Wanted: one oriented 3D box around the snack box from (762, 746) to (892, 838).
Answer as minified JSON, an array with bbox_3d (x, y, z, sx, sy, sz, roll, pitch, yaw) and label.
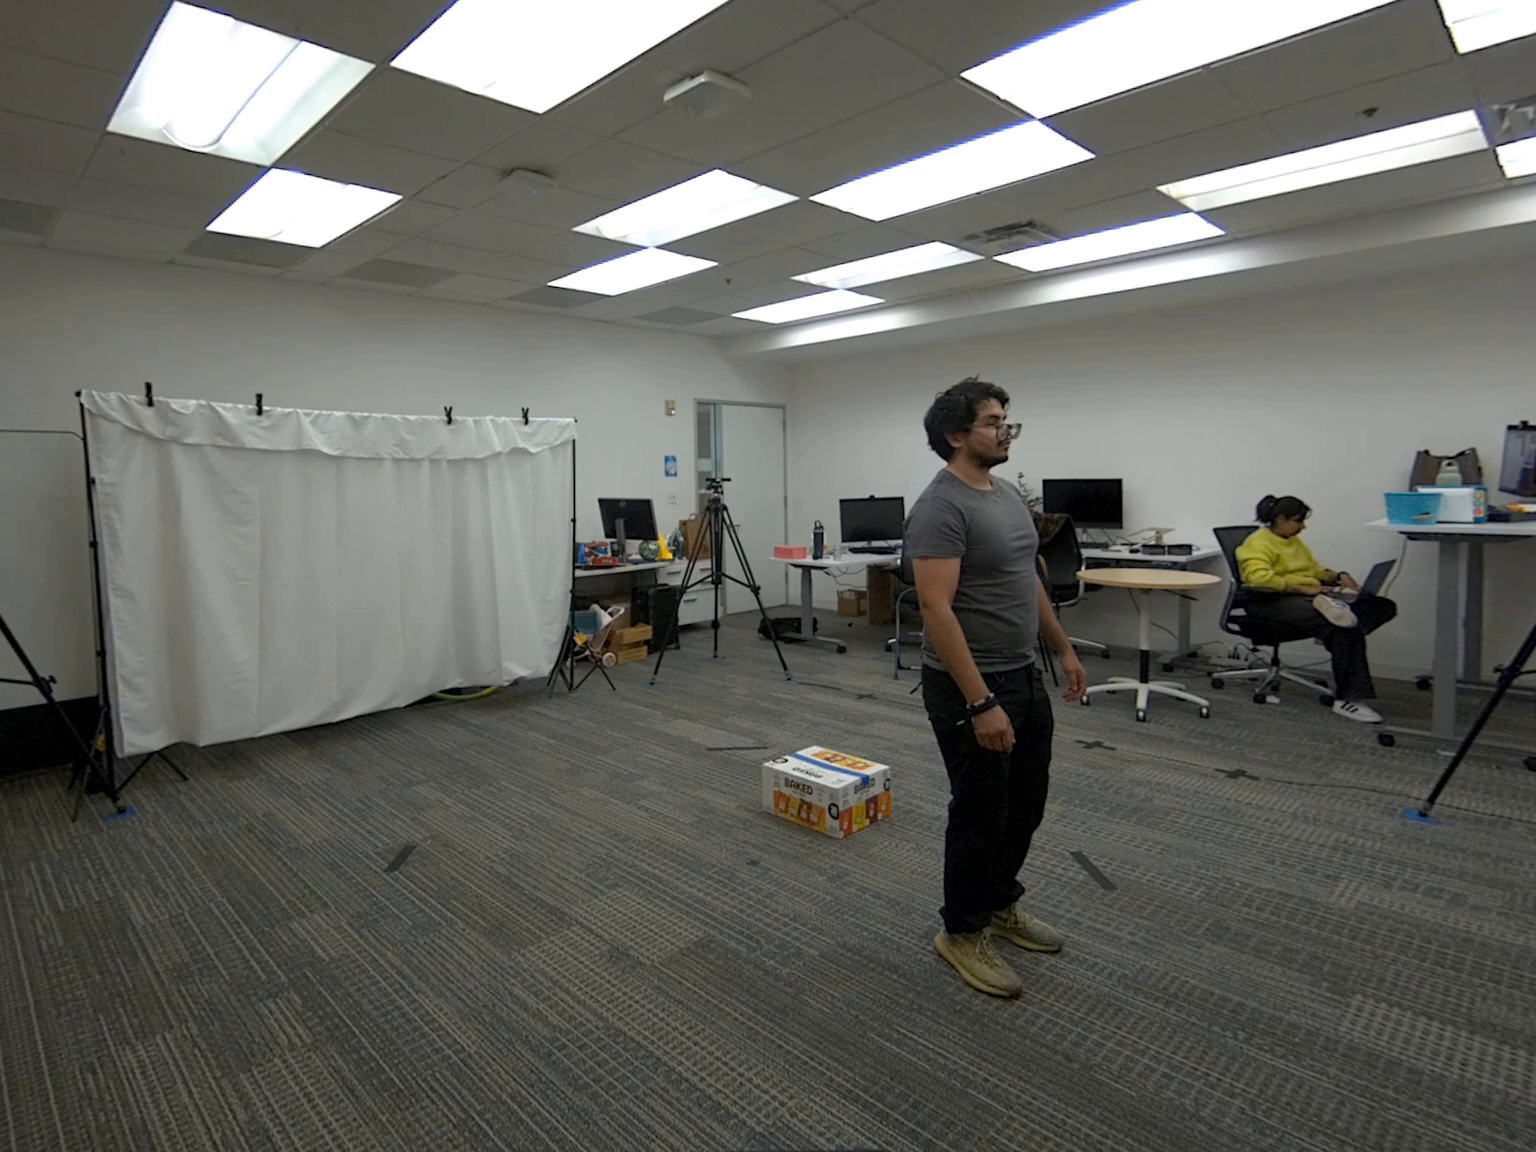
[{"bbox_3d":[0.241,0.887,3.545,0.418,0.205,0.331,5,8,44],"label":"snack box"}]
